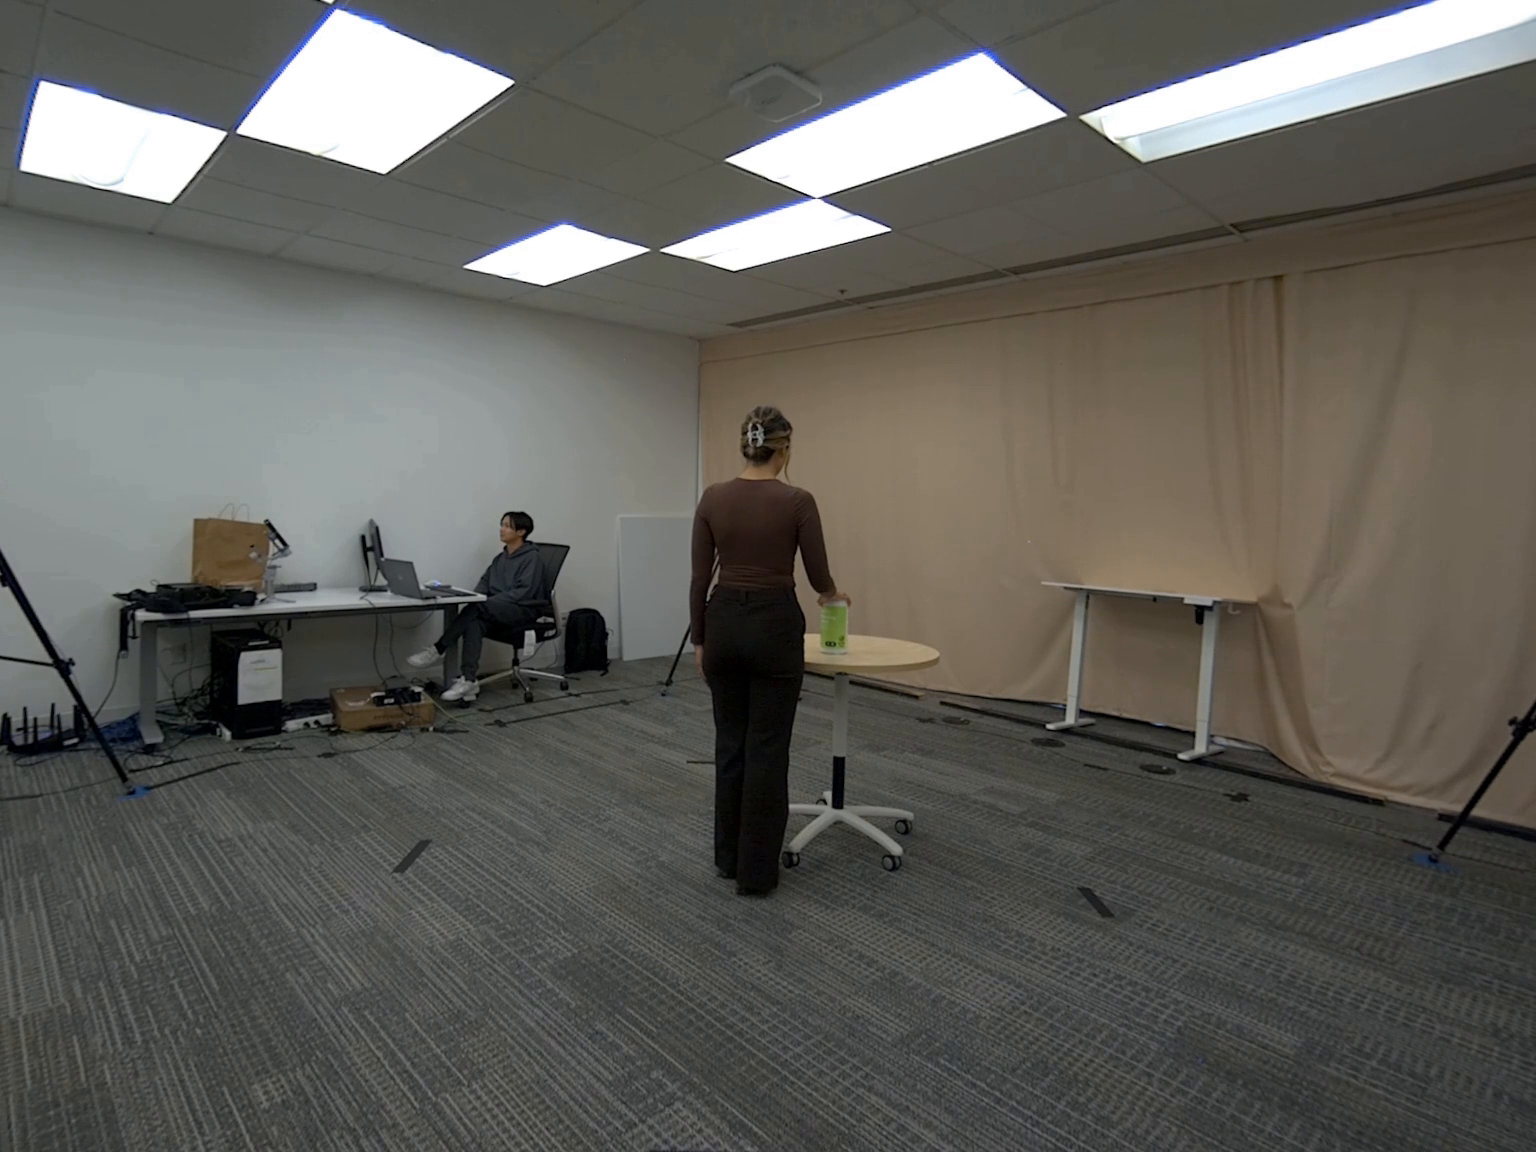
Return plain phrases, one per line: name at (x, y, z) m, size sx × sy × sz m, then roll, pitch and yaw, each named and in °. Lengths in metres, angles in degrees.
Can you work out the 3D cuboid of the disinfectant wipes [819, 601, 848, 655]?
disinfectant wipes at (0.252, 0.194, 3.305) m, size 0.118 × 0.216 × 0.118 m, roll 0°, pitch 6°, yaw -1°
